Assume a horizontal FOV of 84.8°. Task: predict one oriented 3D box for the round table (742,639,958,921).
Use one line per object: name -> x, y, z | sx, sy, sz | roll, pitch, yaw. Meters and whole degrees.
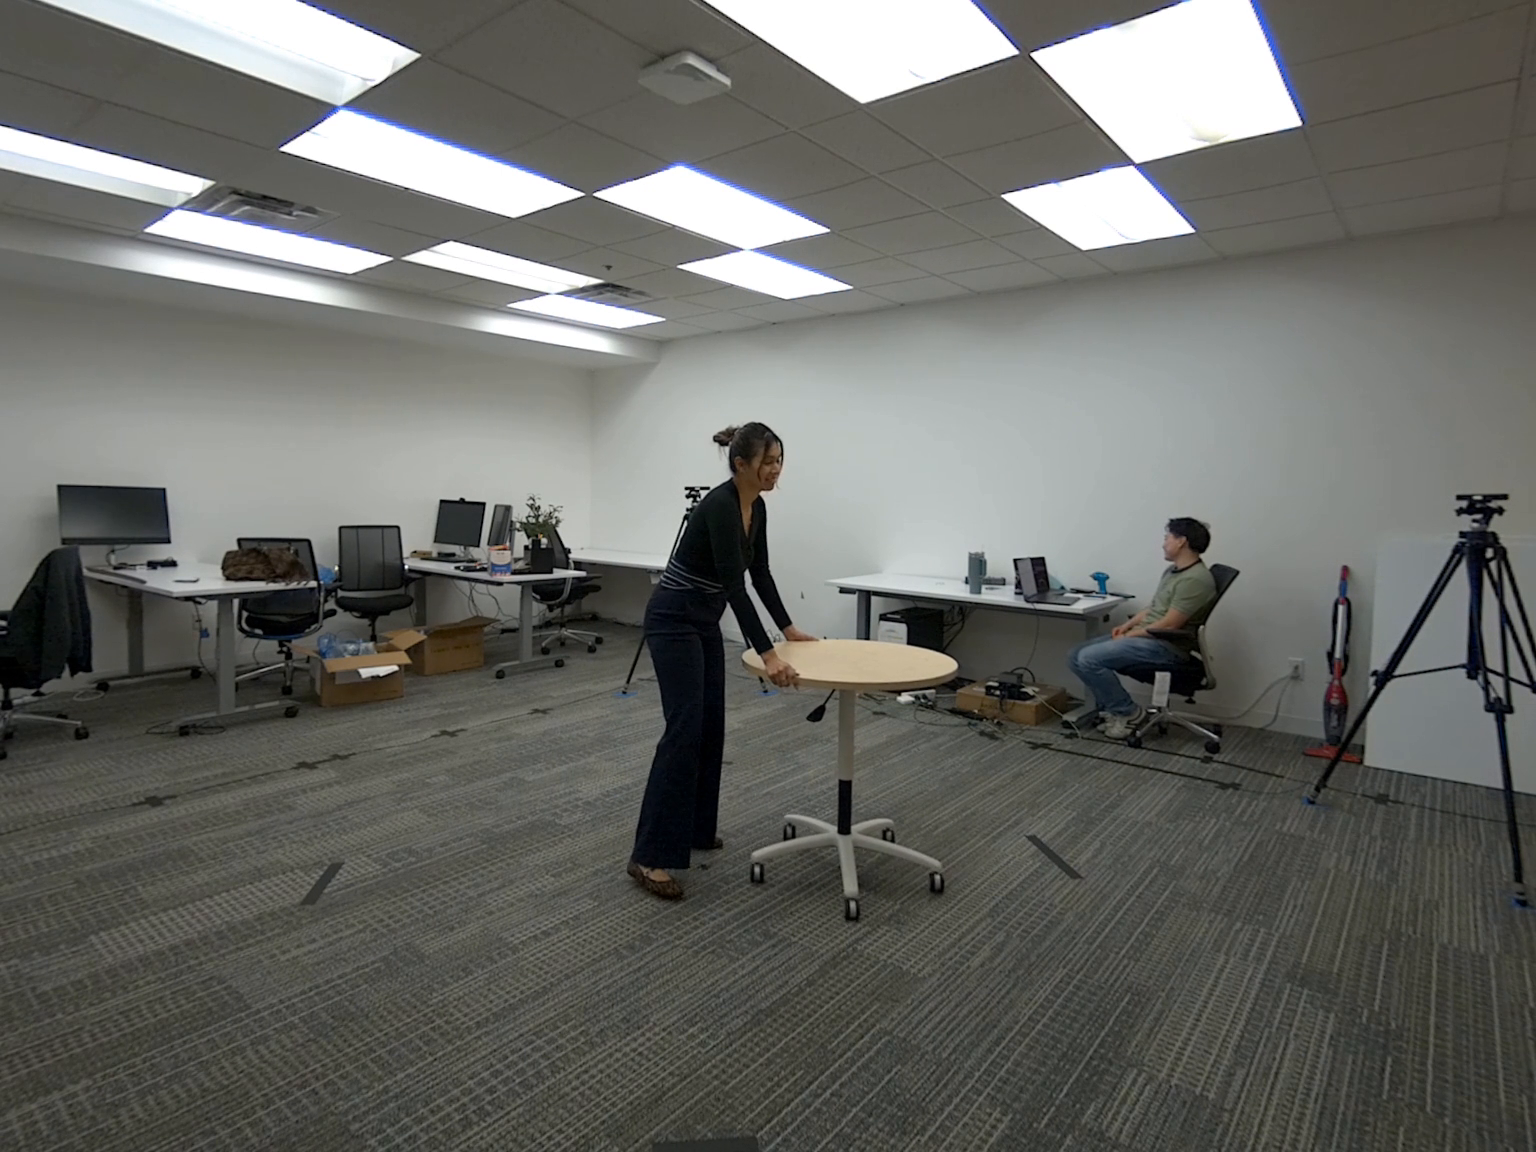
round table -> 0.273, 0.688, 3.088 | 0.763, 0.791, 0.768 | 1, 4, -2
